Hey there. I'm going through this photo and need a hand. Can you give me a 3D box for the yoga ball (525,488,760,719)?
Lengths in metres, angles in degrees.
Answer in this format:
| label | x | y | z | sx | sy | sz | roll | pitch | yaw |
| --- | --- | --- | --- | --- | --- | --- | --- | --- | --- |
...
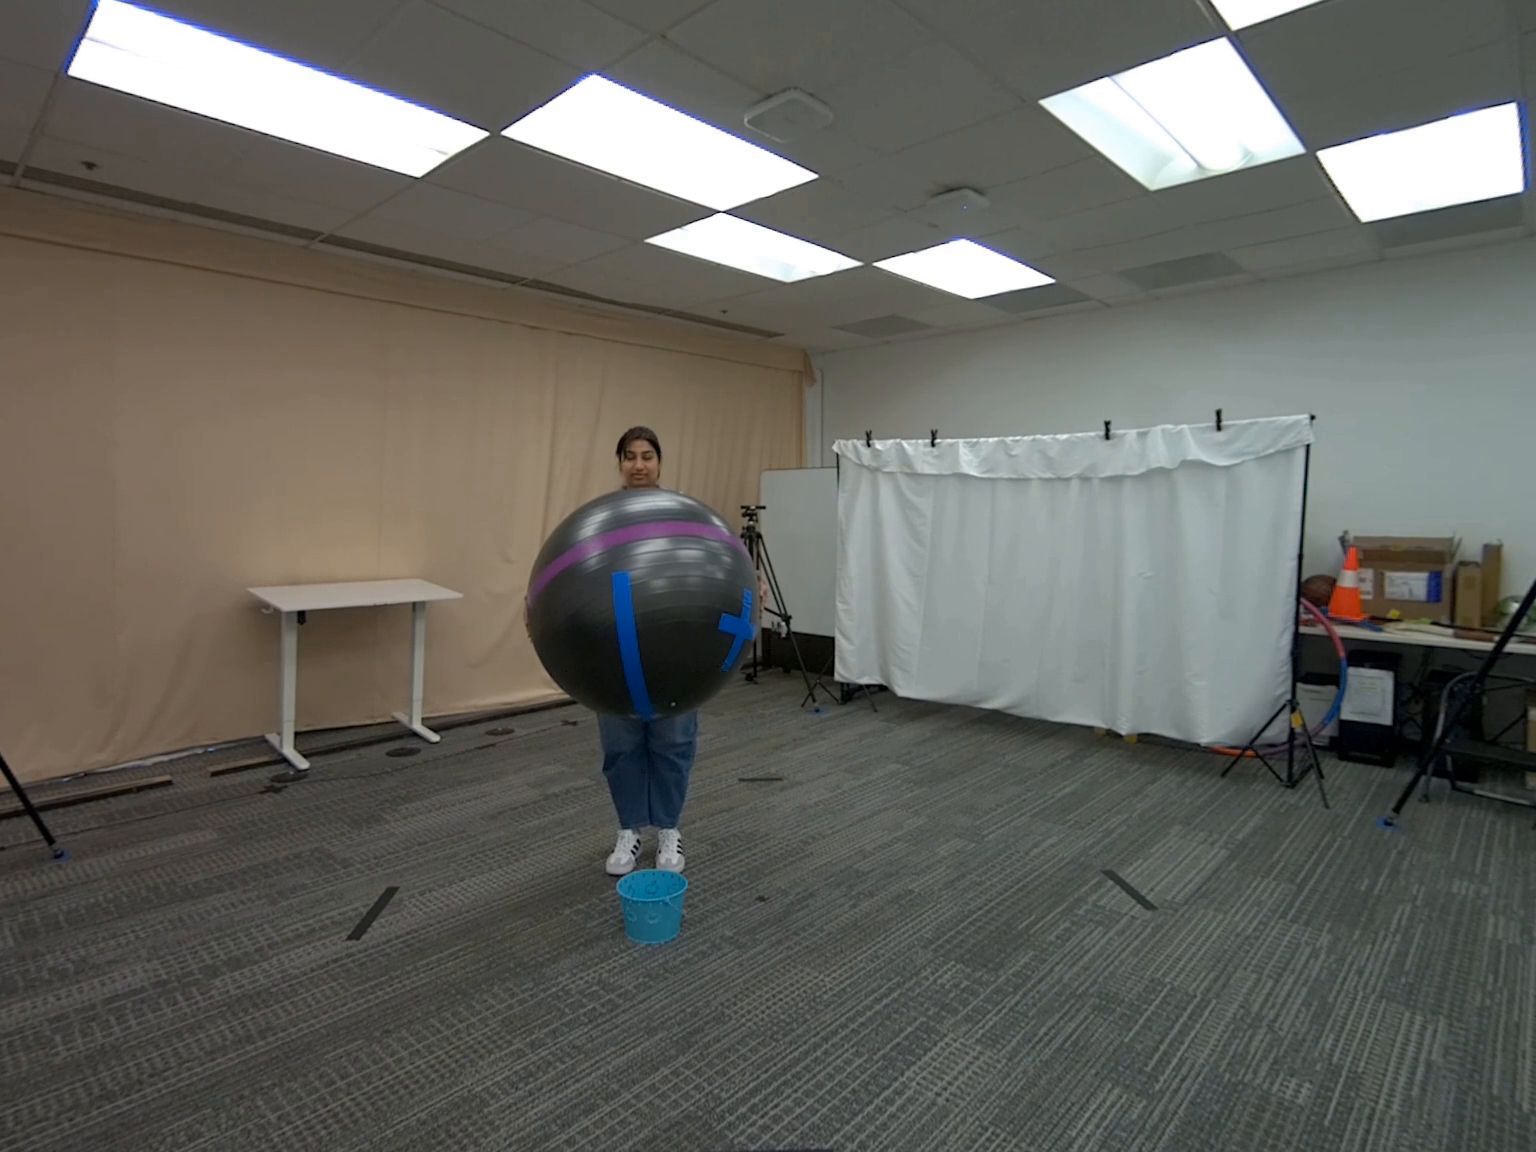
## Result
| label | x | y | z | sx | sy | sz | roll | pitch | yaw |
| --- | --- | --- | --- | --- | --- | --- | --- | --- | --- |
| yoga ball | -0.412 | 0.096 | 2.754 | 0.757 | 0.756 | 0.761 | 0 | 4 | -2 |
